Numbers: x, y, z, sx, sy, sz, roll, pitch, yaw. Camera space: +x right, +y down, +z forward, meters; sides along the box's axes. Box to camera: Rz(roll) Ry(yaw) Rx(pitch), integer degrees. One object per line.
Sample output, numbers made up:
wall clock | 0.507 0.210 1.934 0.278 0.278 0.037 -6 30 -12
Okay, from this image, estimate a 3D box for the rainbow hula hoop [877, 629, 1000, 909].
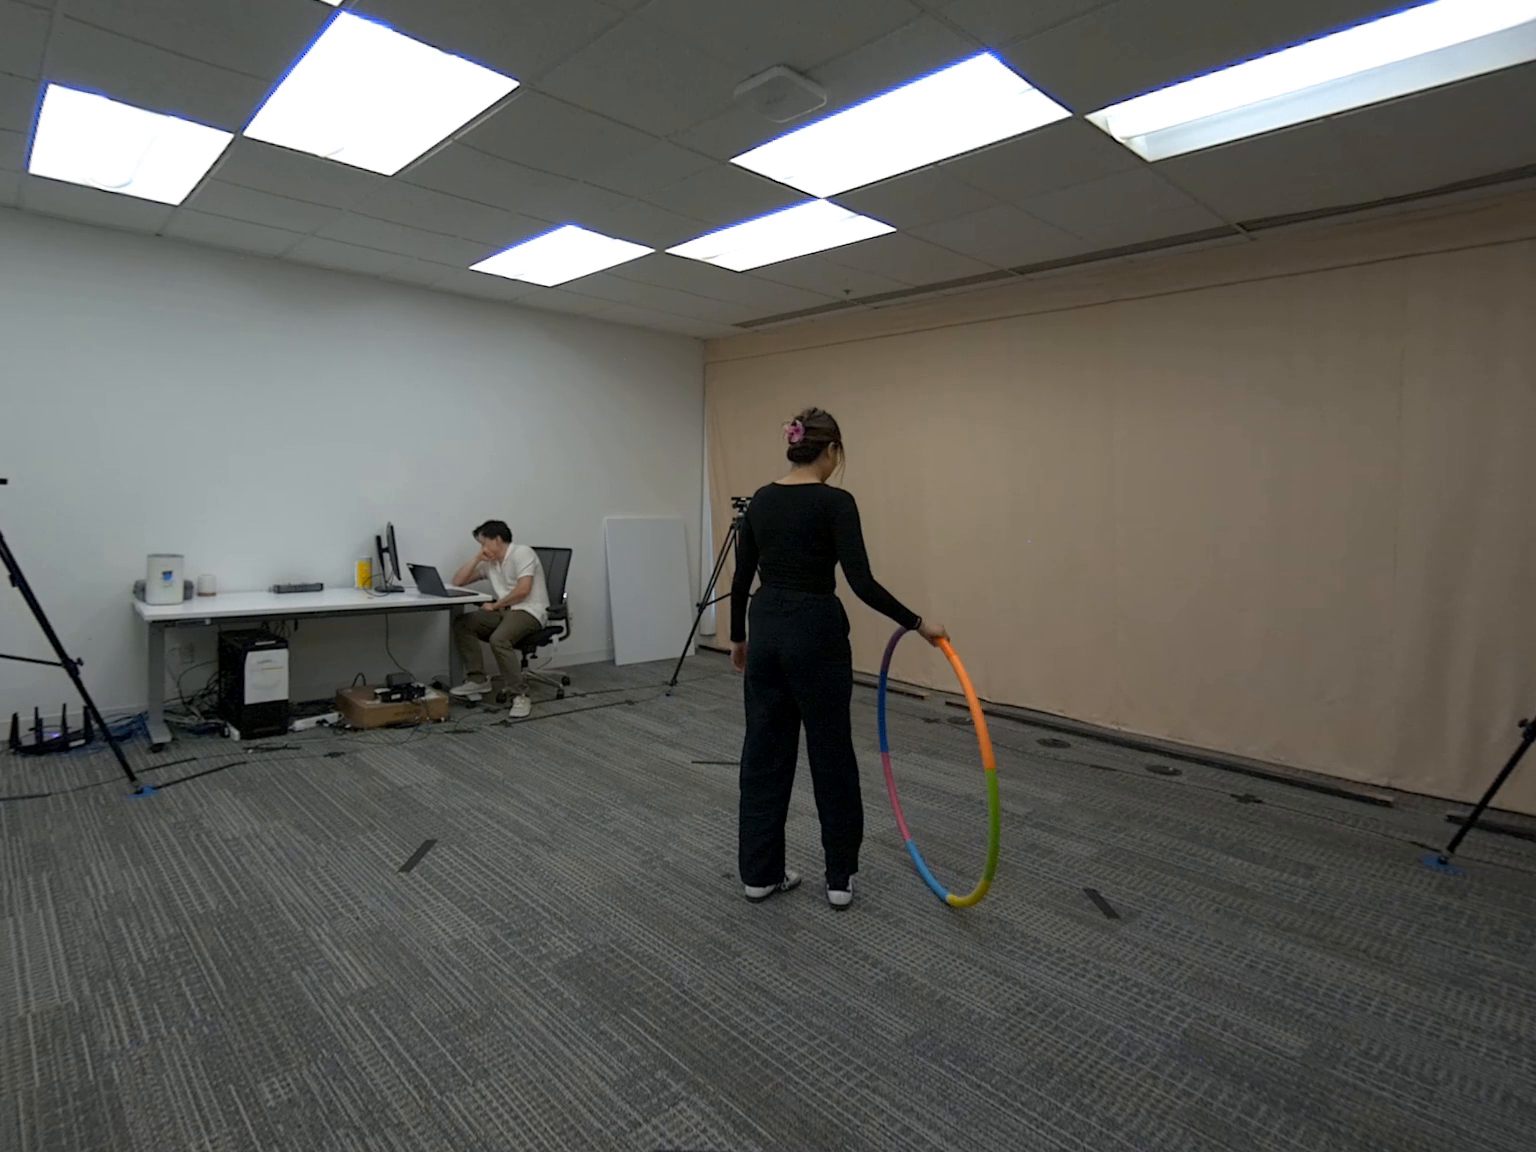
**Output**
rainbow hula hoop | 0.555 0.649 2.994 0.035 0.975 0.989 -5 5 -11
